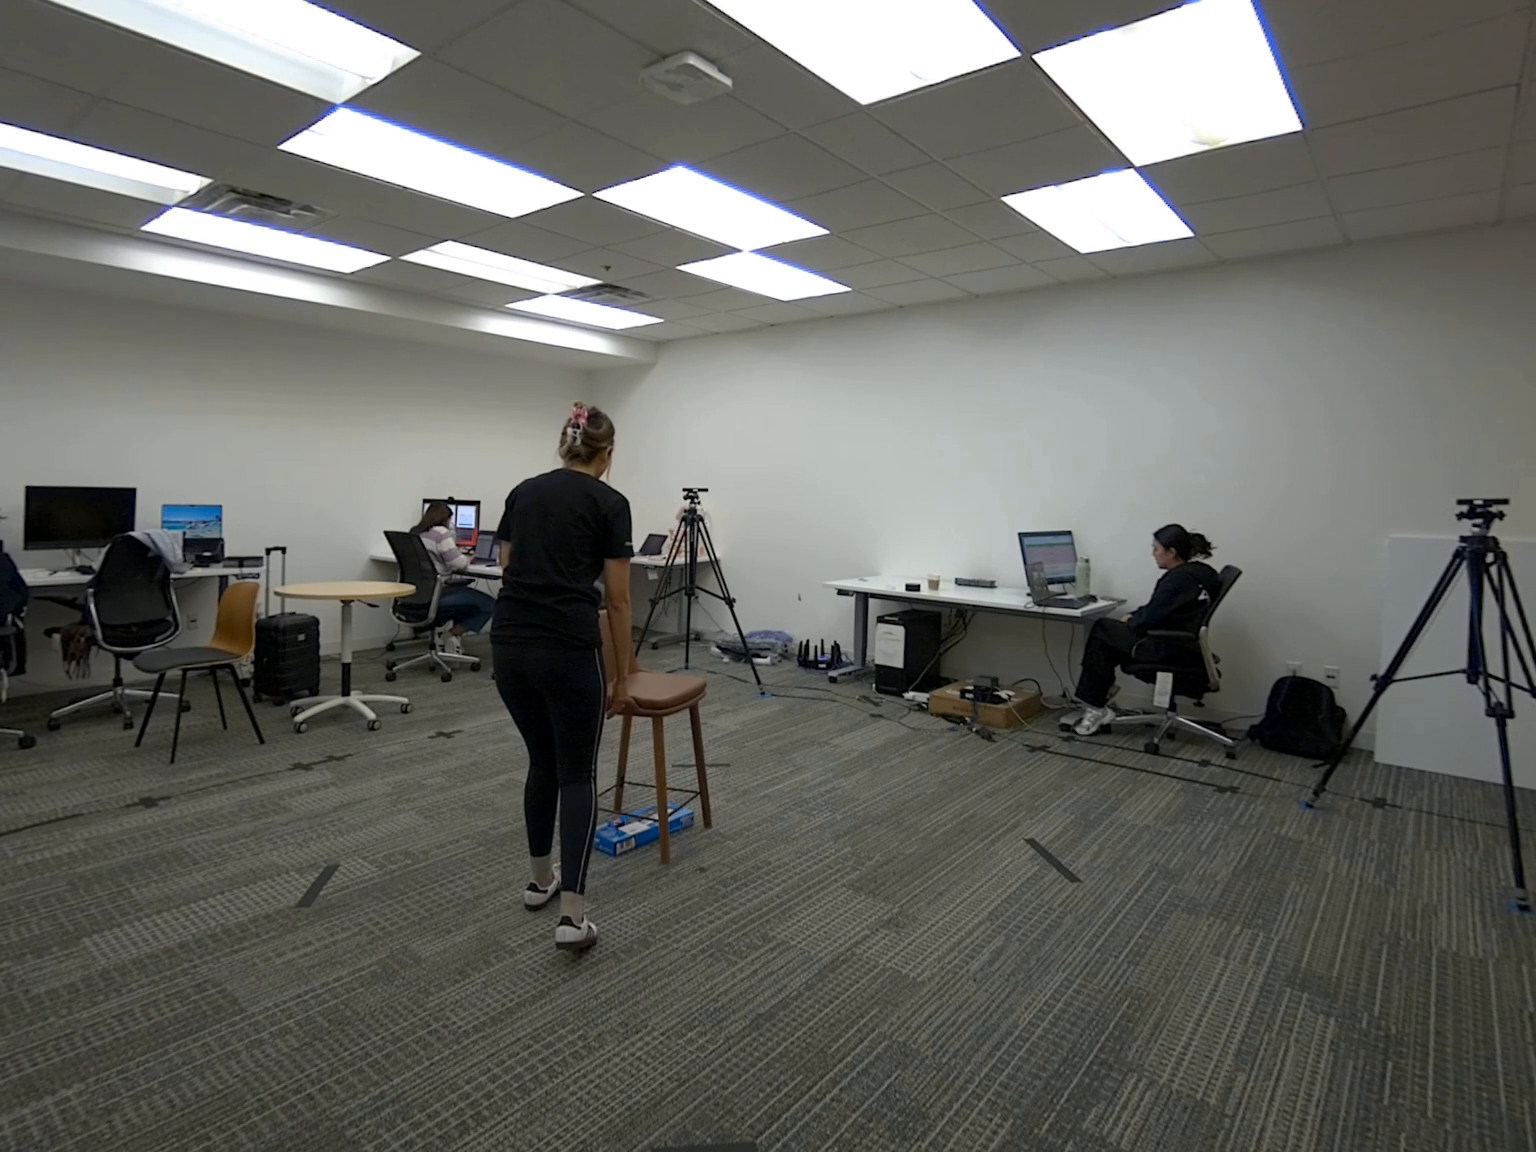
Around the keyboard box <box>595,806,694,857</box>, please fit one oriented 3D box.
[{"bbox_3d":[-0.520,1.010,3.412,0.182,0.059,0.424,5,7,39],"label":"keyboard box"}]
